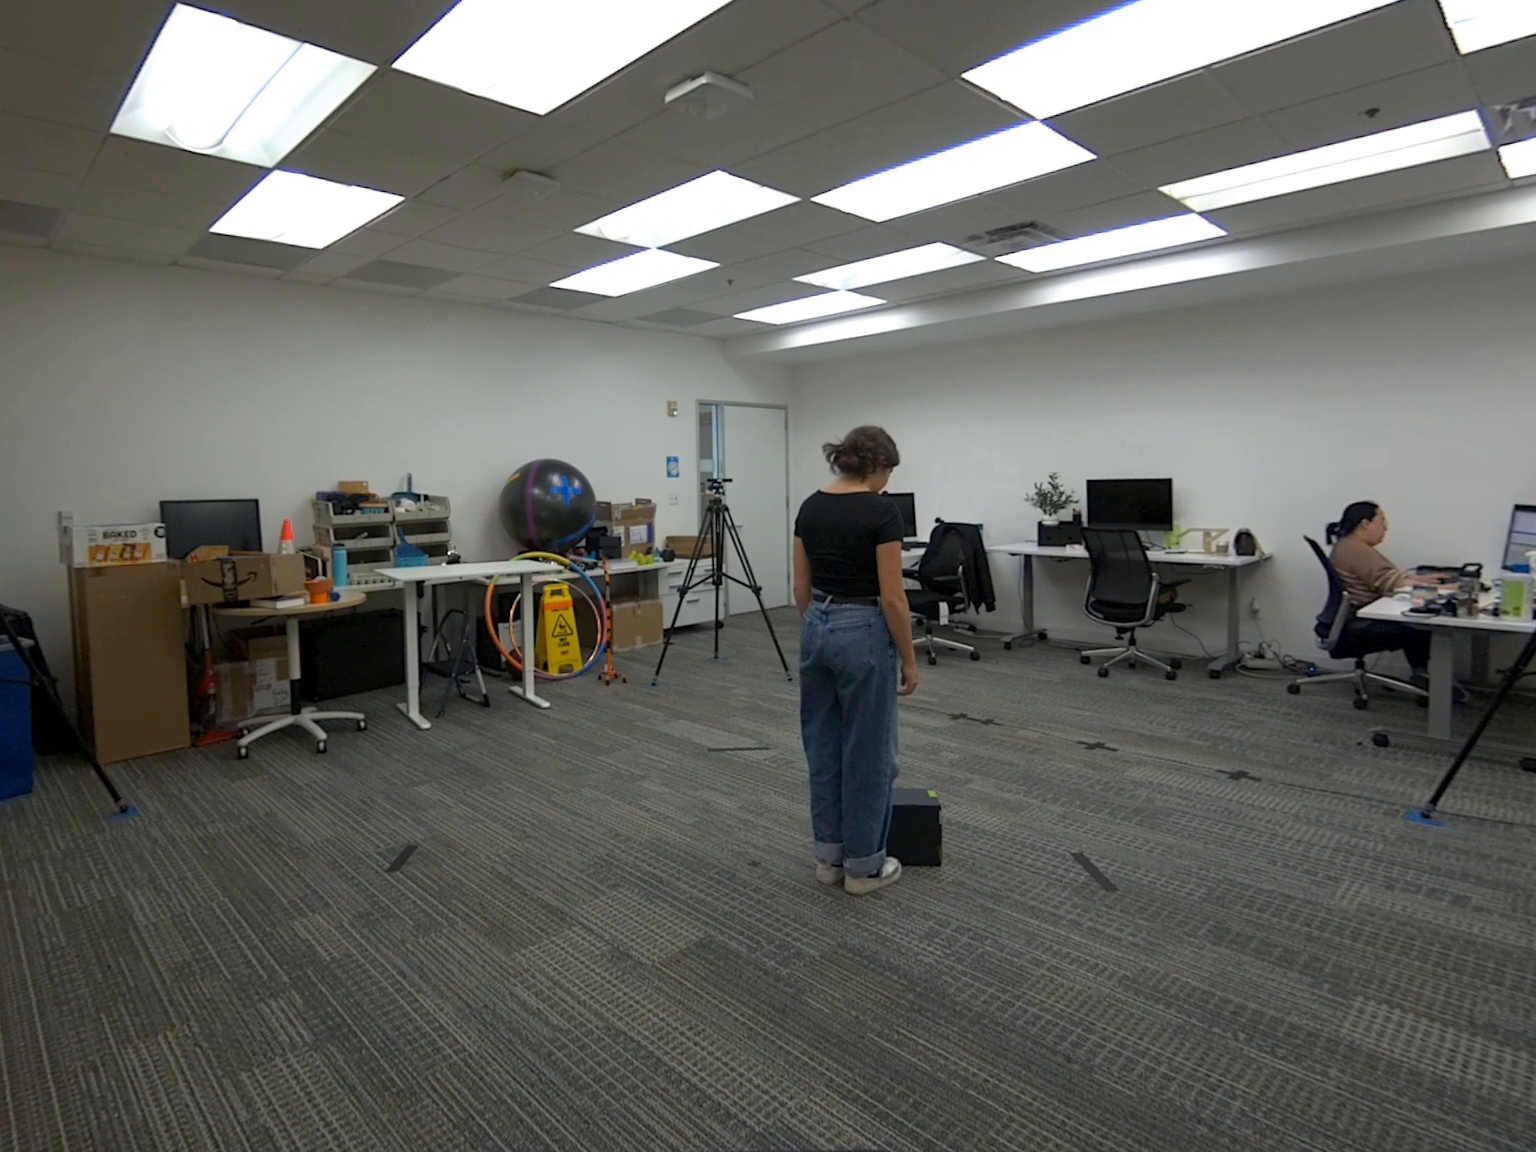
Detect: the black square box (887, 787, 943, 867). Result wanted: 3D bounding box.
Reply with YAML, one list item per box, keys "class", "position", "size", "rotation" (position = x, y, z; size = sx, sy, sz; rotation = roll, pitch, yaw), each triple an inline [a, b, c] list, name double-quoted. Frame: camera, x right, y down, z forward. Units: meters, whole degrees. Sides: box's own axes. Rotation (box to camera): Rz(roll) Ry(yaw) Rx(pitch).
- class: "black square box"
  position: [0.516, 0.912, 3.127]
  size: [0.218, 0.227, 0.156]
  rotation: [0, 4, 3]
